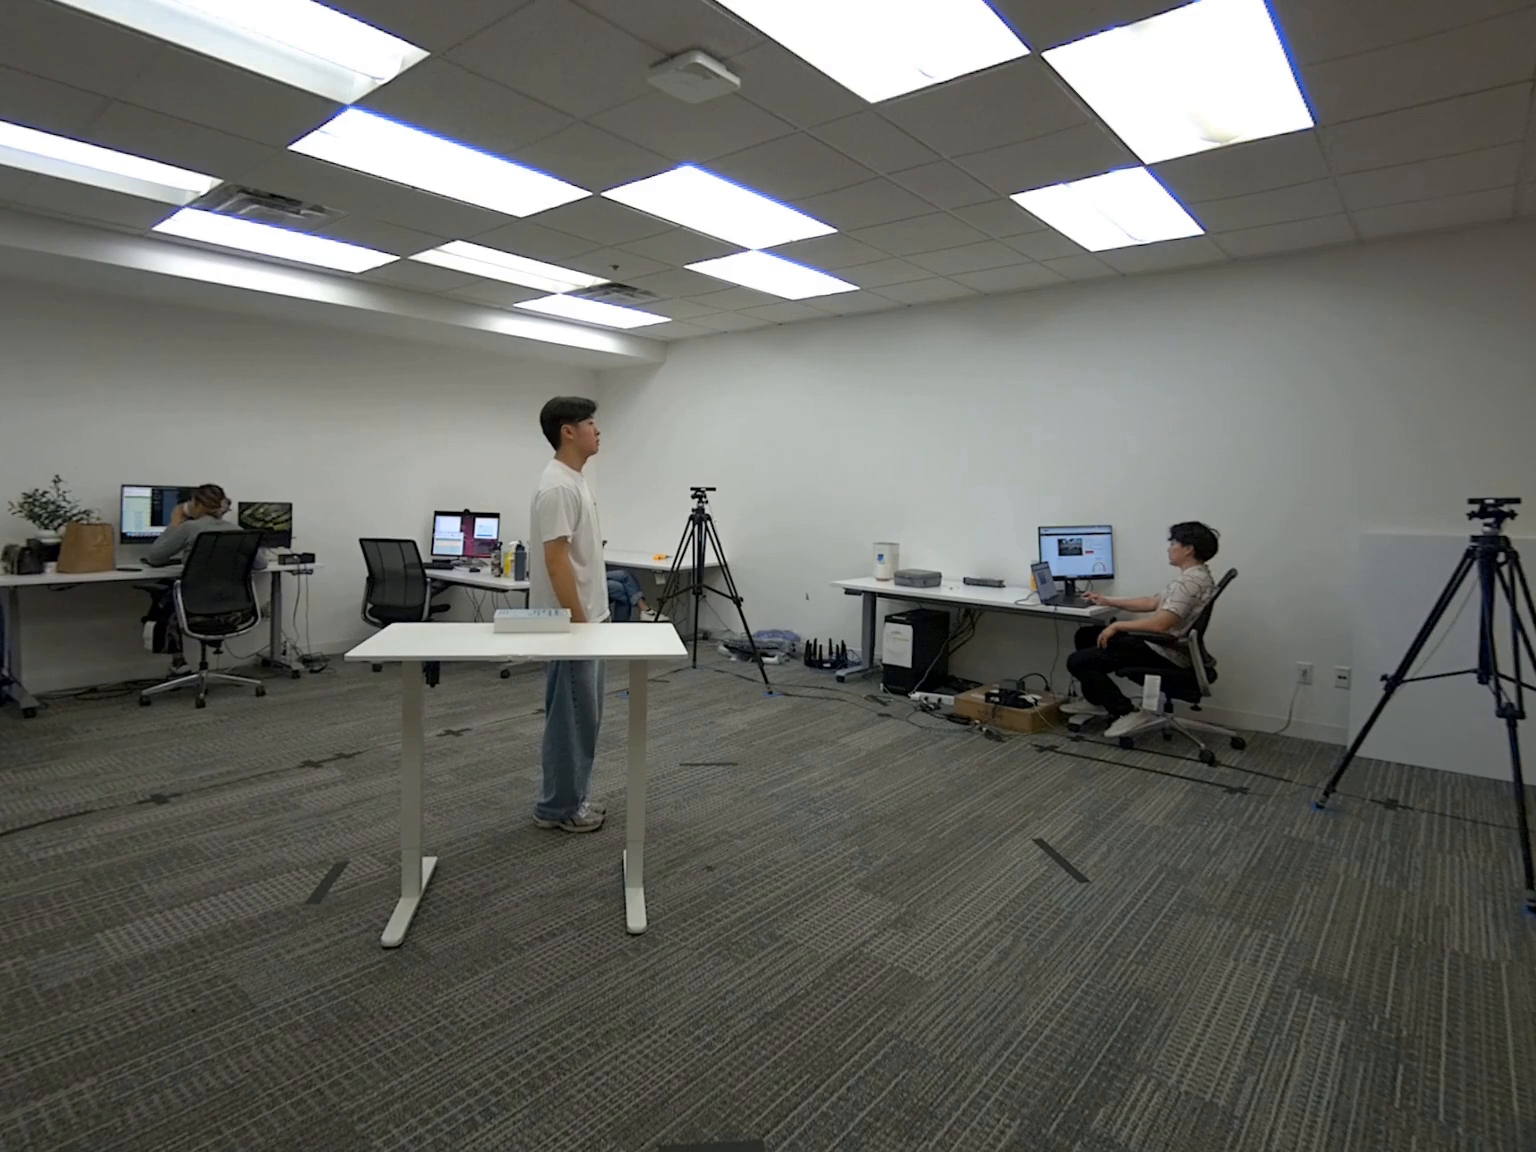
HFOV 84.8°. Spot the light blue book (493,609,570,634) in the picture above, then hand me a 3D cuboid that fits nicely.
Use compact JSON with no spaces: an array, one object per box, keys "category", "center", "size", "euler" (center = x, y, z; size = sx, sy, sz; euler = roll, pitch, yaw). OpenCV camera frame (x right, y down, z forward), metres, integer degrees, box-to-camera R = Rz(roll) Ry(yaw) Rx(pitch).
[{"category":"light blue book","center":[-0.870,0.157,2.998],"size":[0.258,0.059,0.195],"euler":[0,6,-12]}]
